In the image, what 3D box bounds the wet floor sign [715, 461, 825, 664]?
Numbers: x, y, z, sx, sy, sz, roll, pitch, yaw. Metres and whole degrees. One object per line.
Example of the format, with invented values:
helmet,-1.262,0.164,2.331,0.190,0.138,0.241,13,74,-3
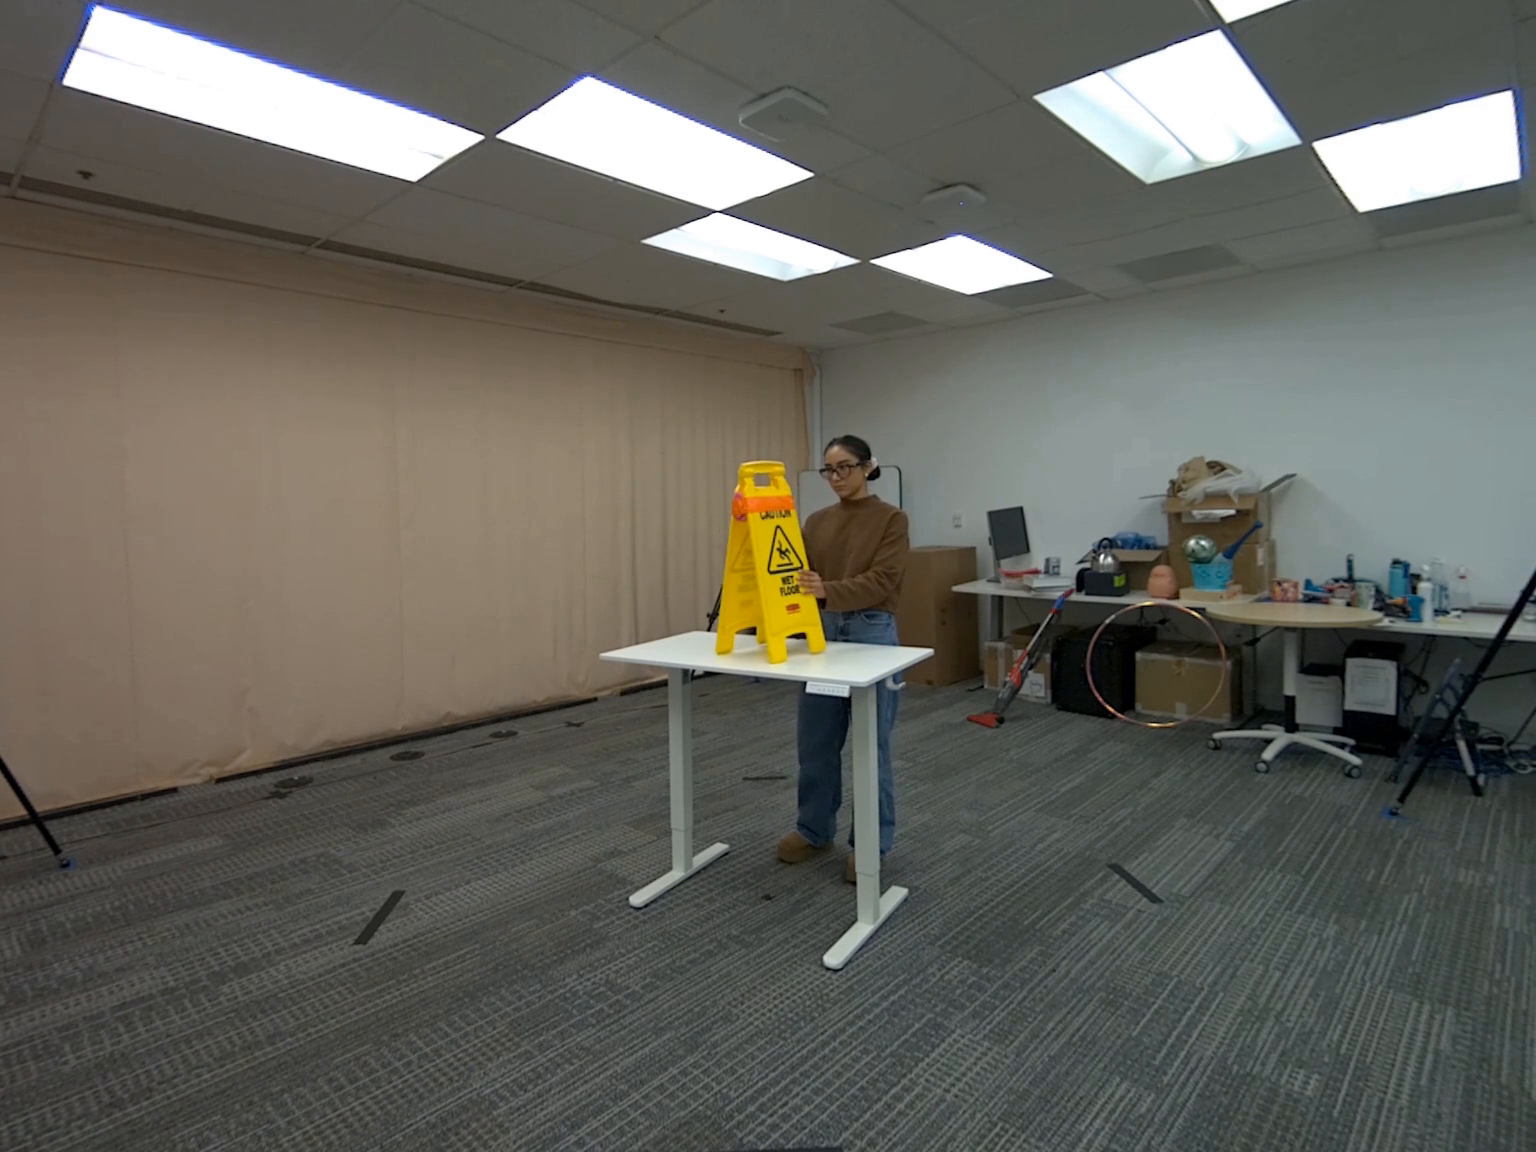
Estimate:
wet floor sign,-0.001,-0.059,2.856,0.299,0.644,0.274,3,7,45
